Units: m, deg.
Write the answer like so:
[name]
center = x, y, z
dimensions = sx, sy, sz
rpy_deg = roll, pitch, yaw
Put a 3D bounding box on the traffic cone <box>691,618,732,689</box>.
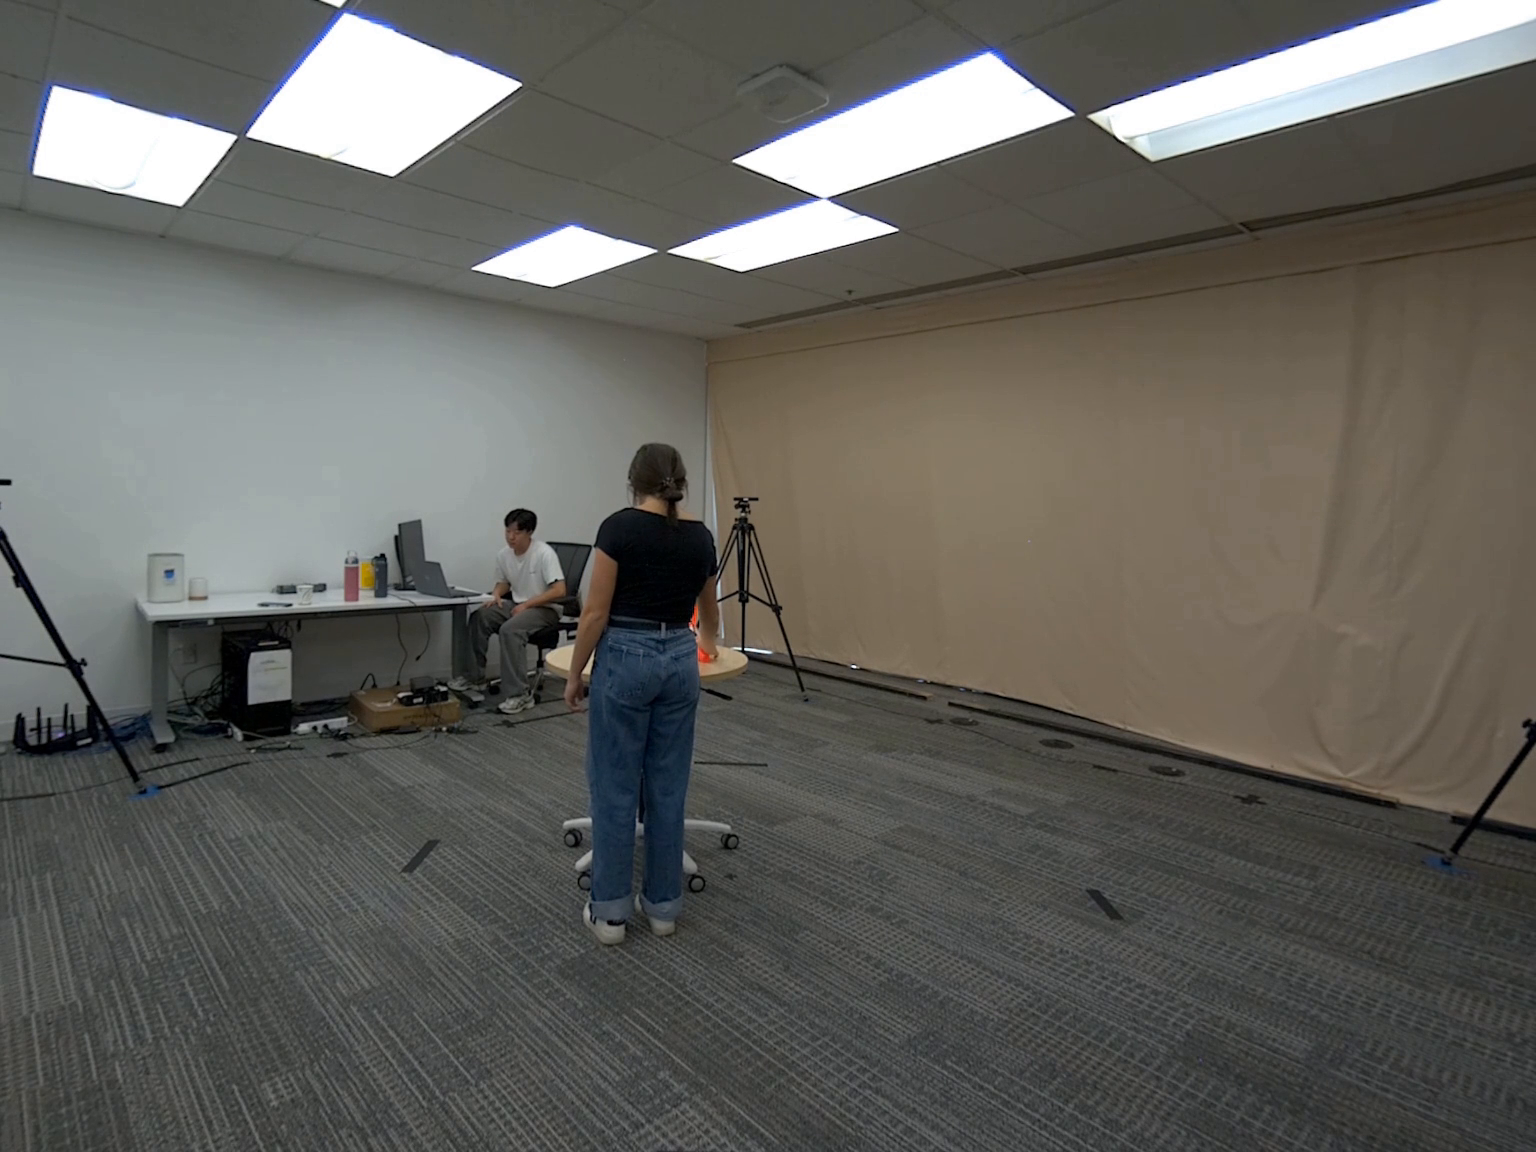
[traffic cone]
center = -0.316, 0.258, 3.285
dimensions = 0.201, 0.201, 0.394
rpy_deg = -1, 17, -23
